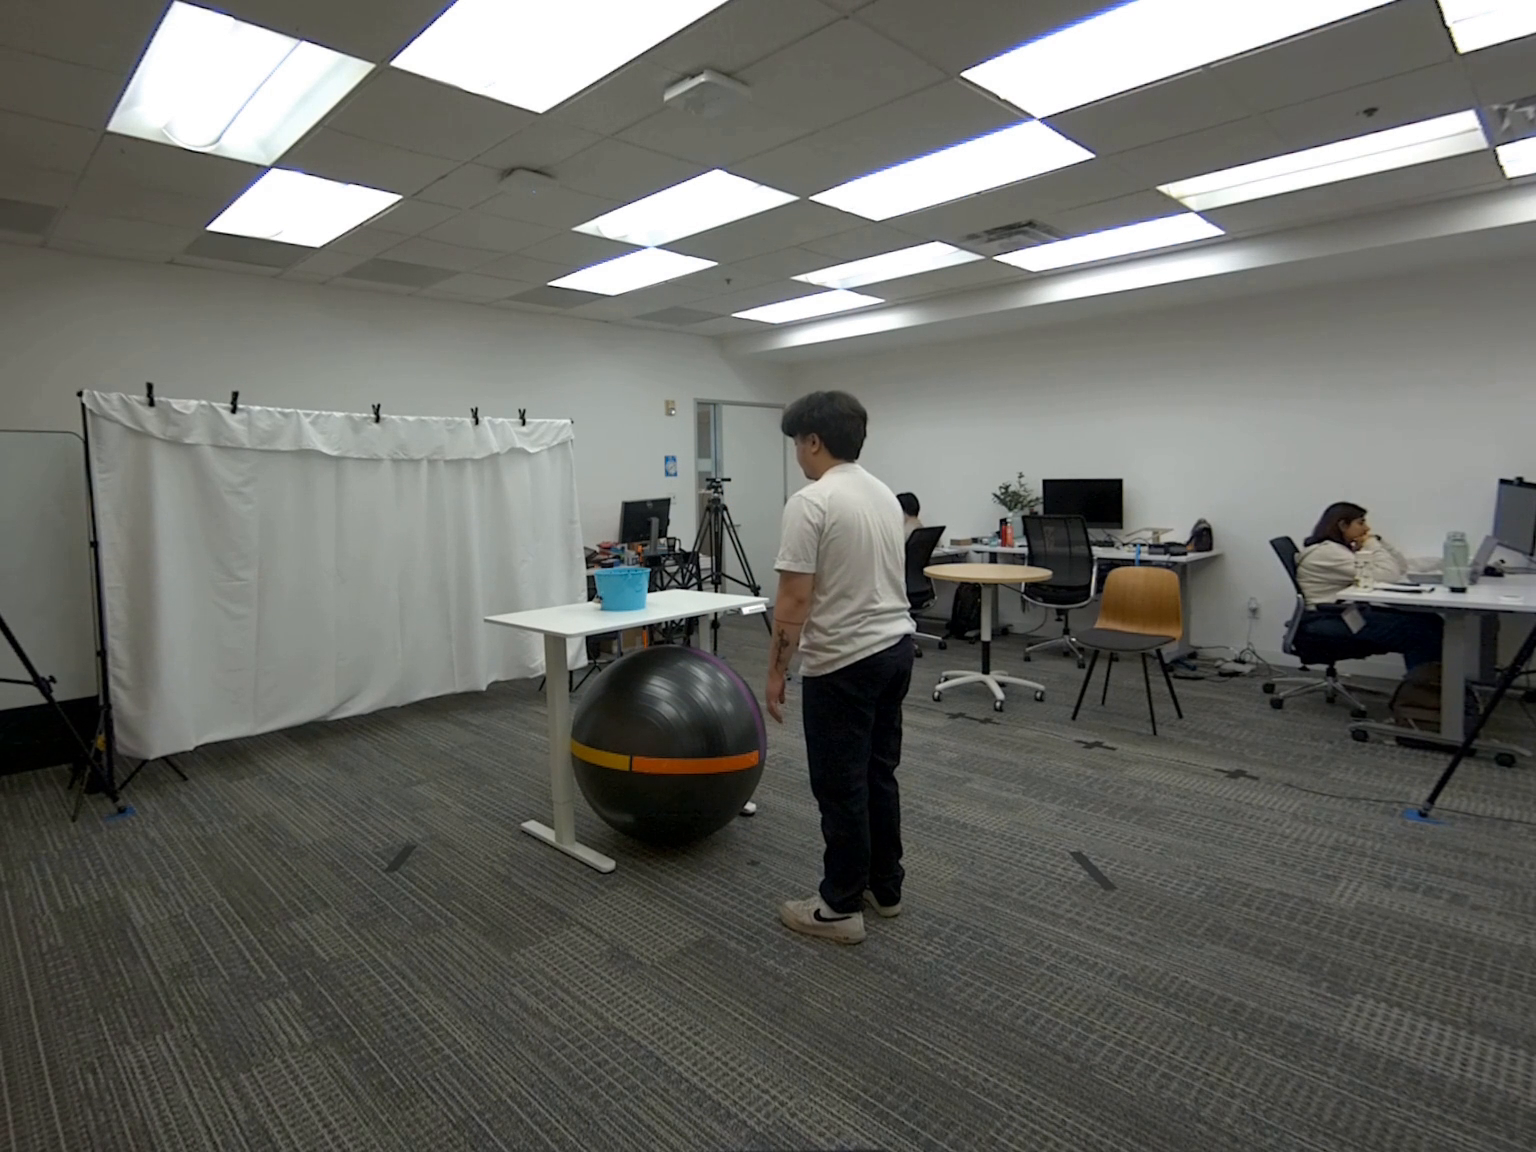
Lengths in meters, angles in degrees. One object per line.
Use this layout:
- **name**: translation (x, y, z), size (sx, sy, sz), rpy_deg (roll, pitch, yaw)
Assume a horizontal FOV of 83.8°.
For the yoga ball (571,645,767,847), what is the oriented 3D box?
- **yoga ball**: translation (-0.387, 0.656, 3.331), size (0.757, 0.755, 0.762), rpy_deg (-1, 5, -2)
